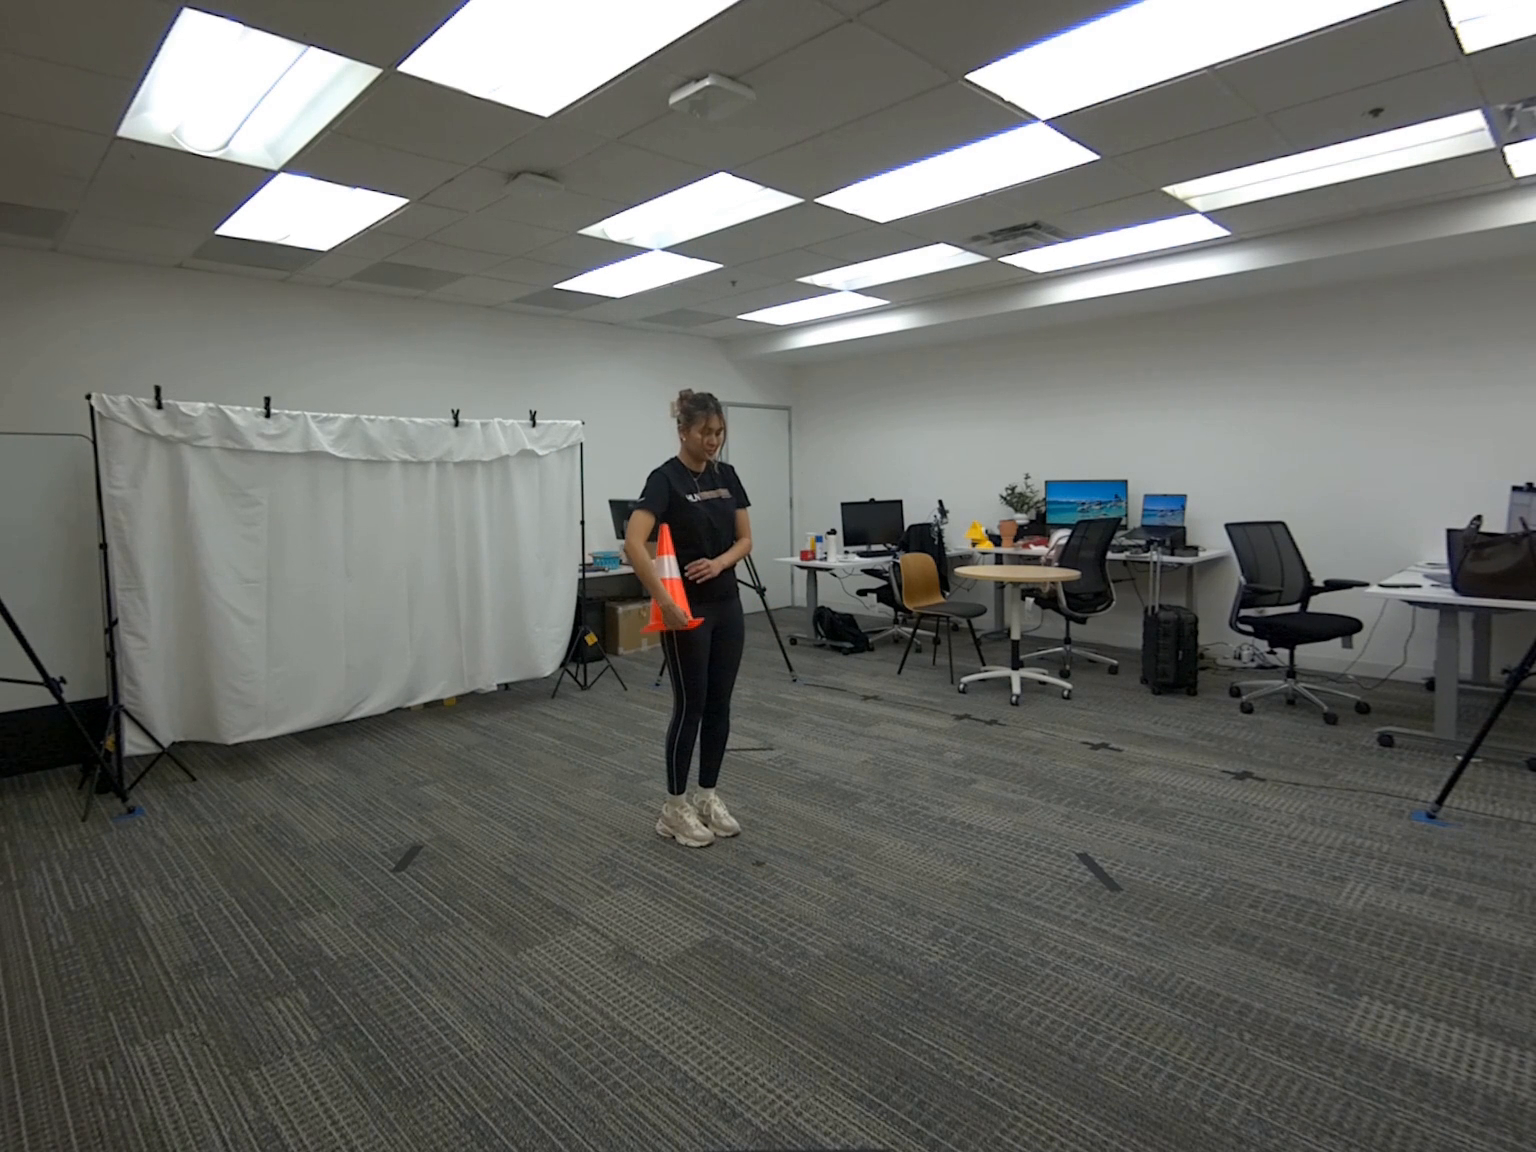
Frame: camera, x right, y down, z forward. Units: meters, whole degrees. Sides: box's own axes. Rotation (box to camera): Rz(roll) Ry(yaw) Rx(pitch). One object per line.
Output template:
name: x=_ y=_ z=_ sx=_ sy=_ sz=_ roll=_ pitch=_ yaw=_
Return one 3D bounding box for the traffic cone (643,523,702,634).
traffic cone: x=-0.362 y=-0.003 z=3.123 sx=0.198 sy=0.389 sz=0.207 roll=1 pitch=-14 yaw=-29
